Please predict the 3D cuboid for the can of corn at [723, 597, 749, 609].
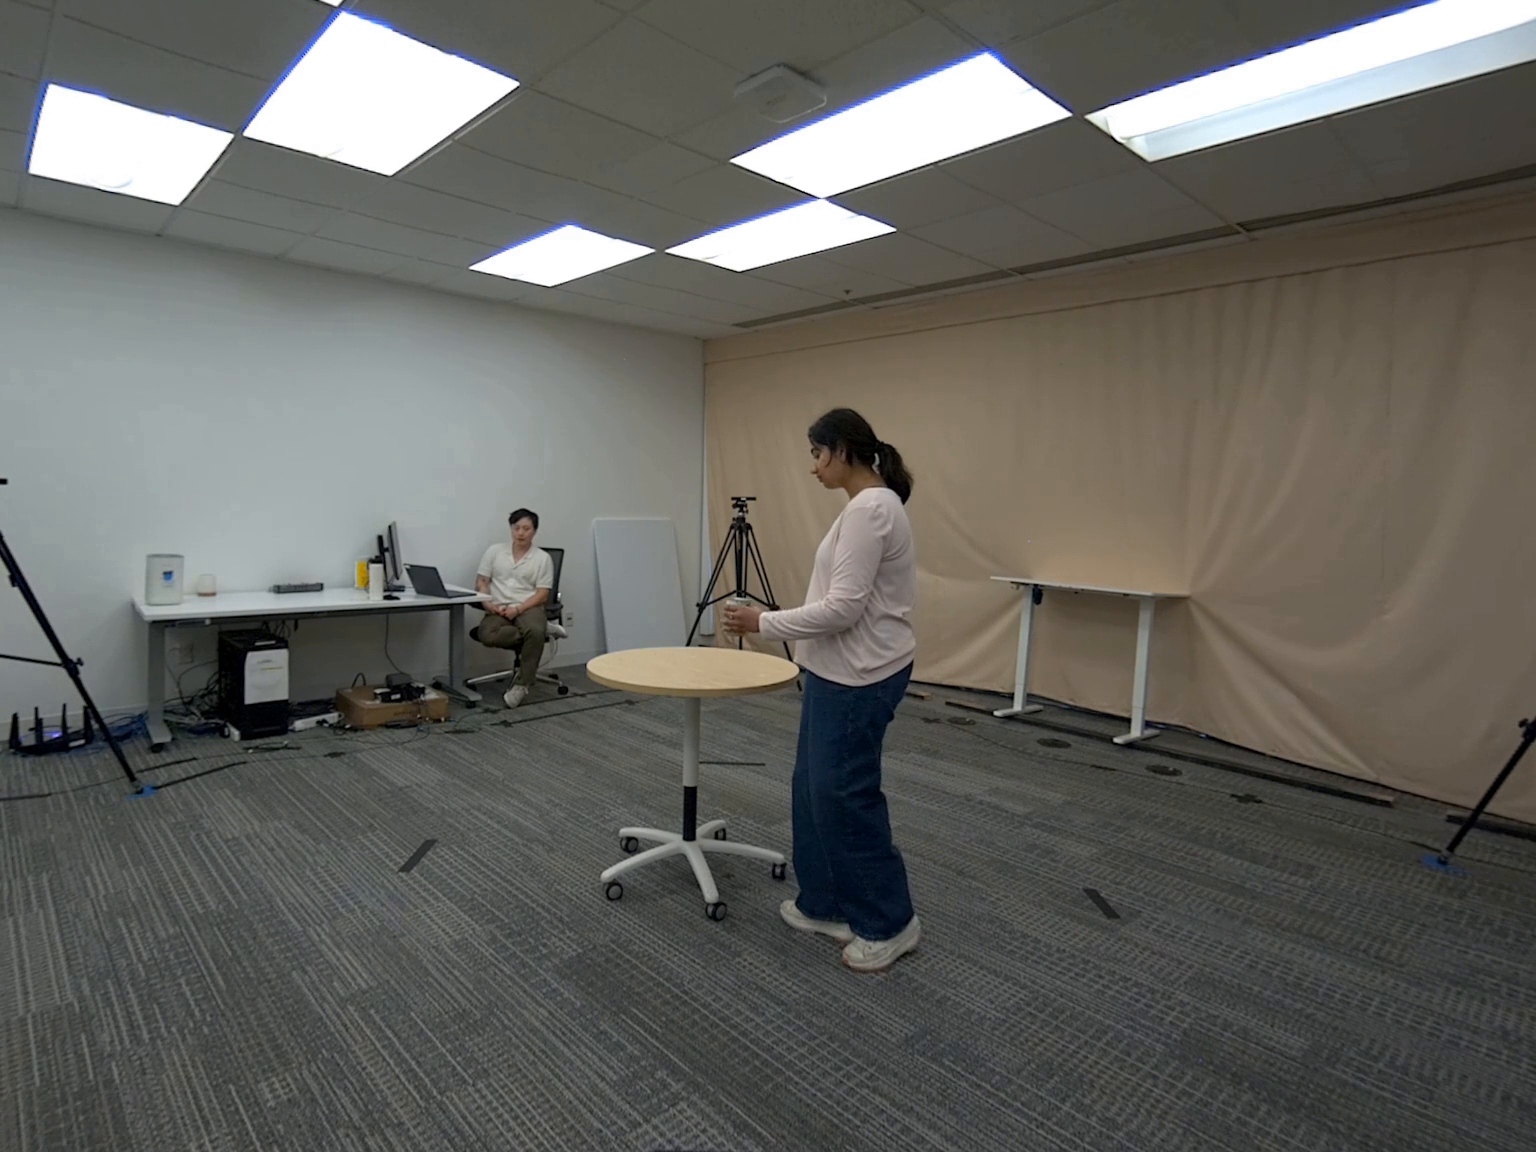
[{"bbox_3d":[-0.090,0.130,2.604,0.074,0.111,0.074,5,4,-2],"label":"can of corn"}]
